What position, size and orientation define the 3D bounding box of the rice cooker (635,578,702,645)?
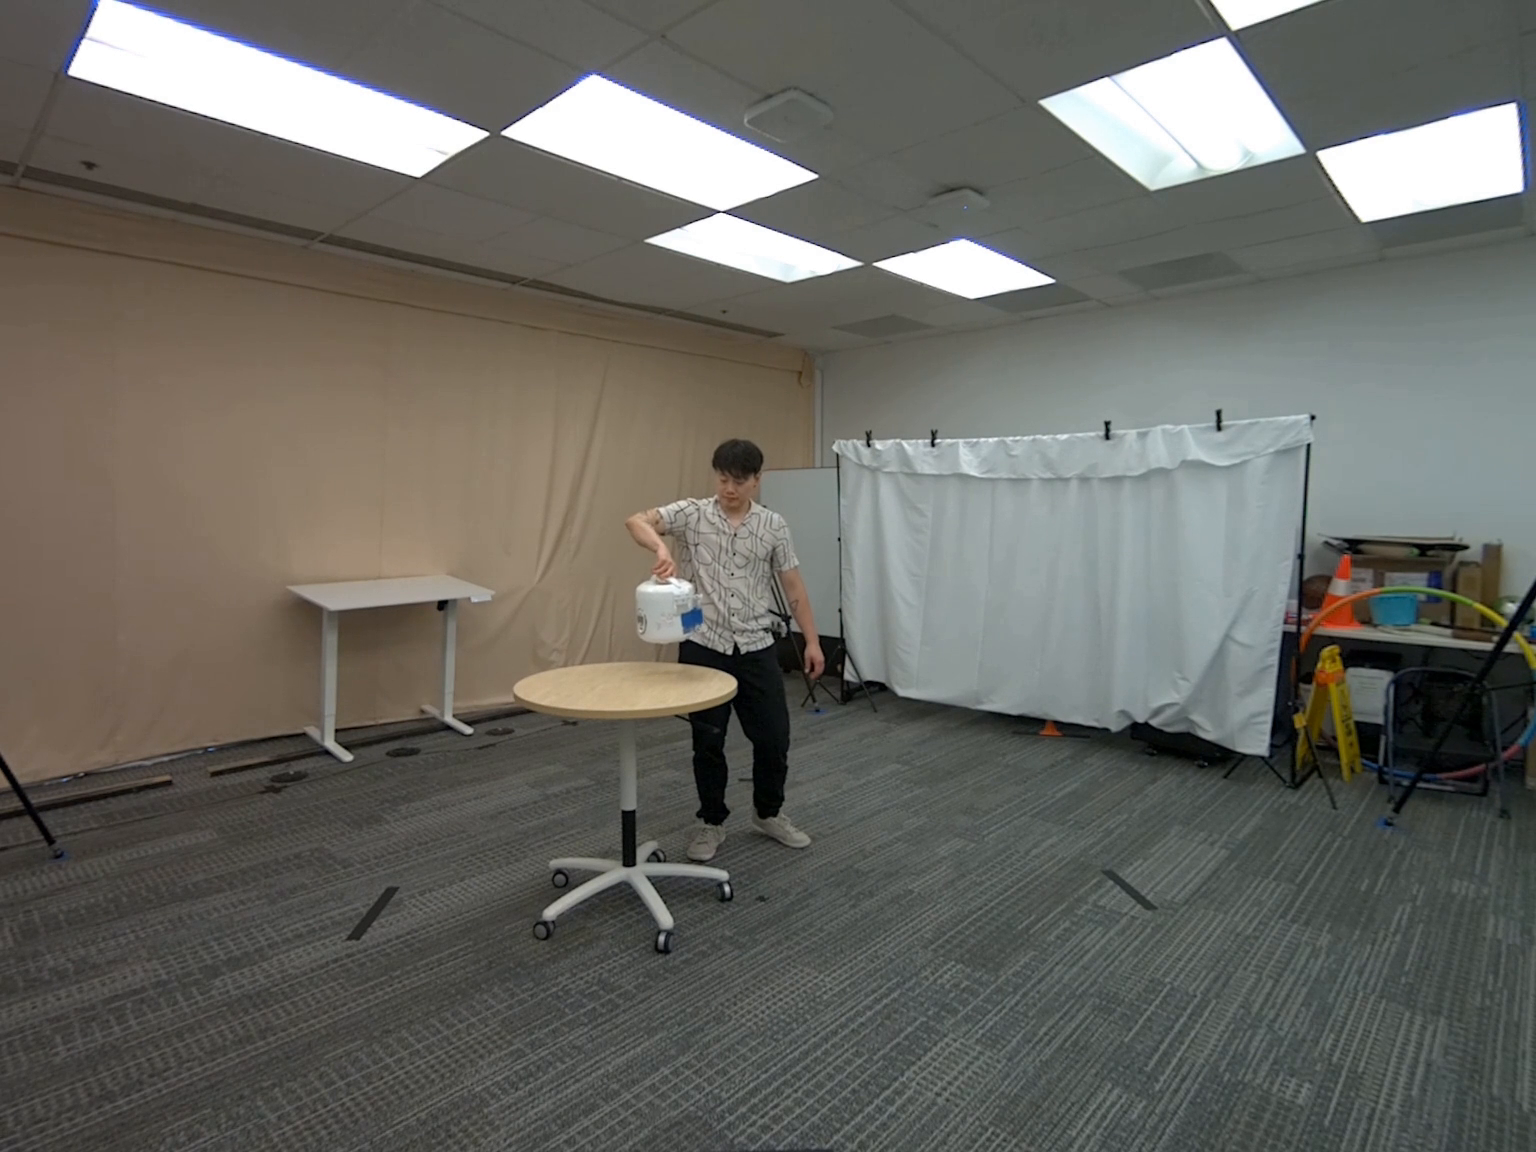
[{"bbox_3d":[-0.364,0.112,3.024,0.211,0.232,0.228,-5,7,-38],"label":"rice cooker"}]
